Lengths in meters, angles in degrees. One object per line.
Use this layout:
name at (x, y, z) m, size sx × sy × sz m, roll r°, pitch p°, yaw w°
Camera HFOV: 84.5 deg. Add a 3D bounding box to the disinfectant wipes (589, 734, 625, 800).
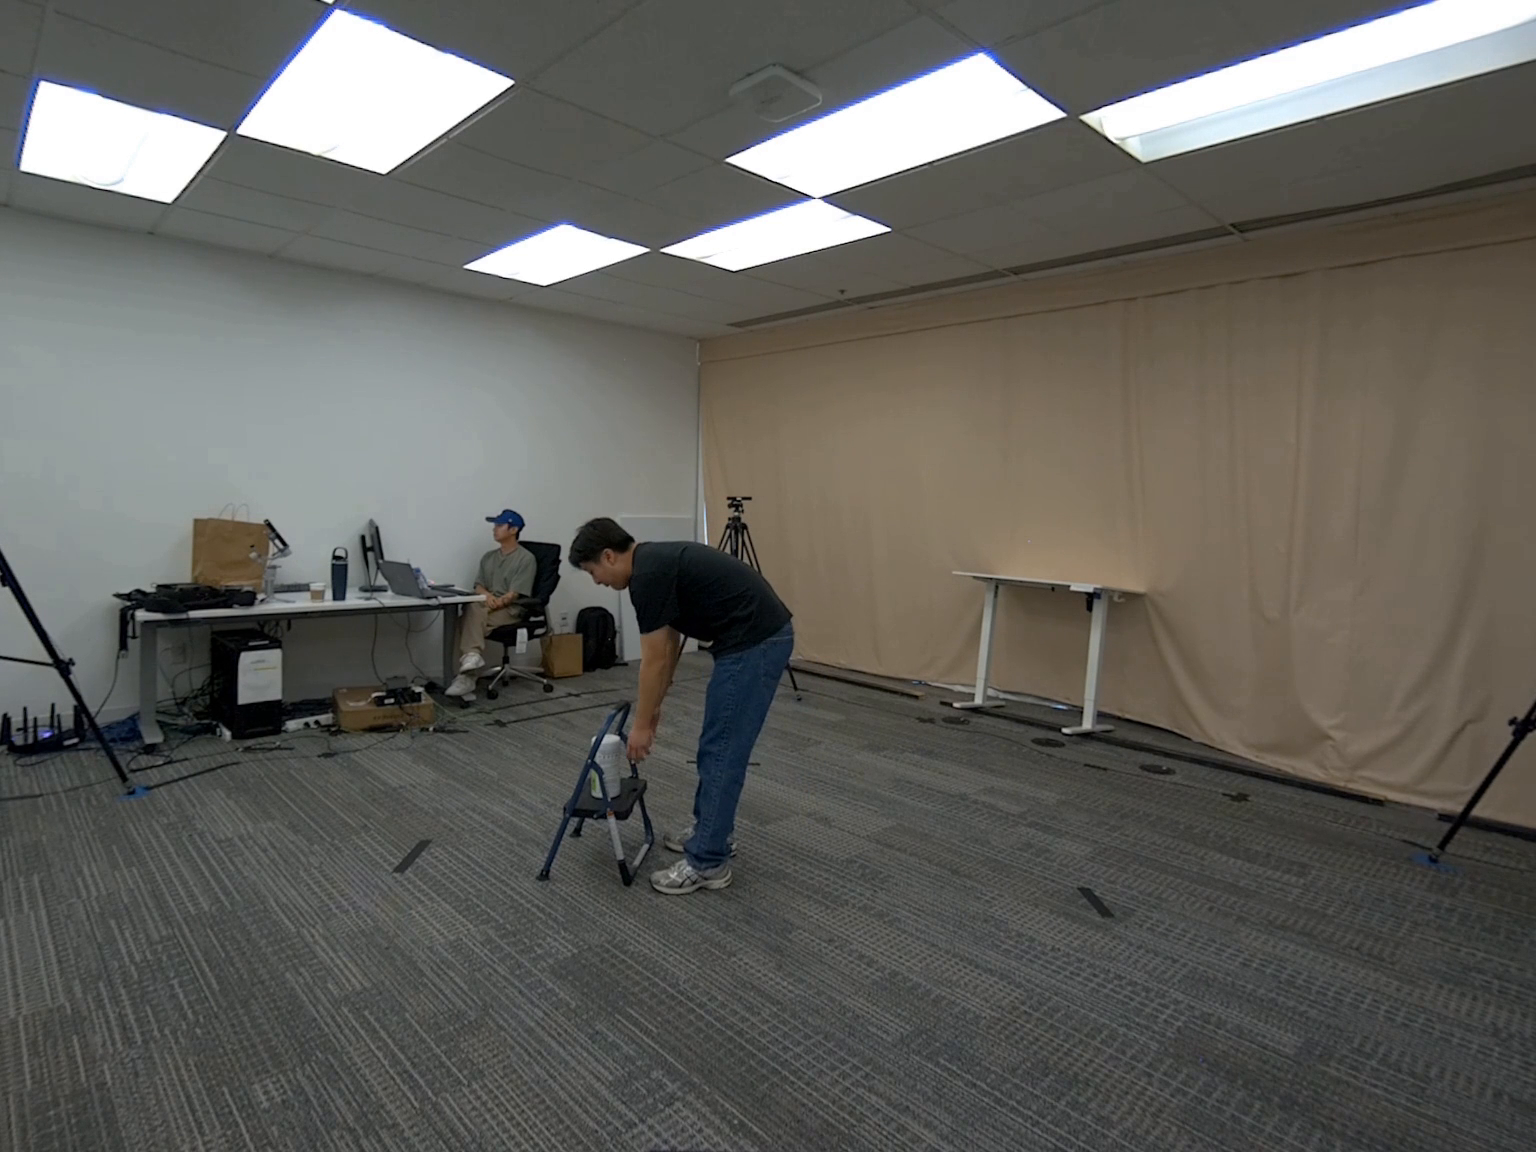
disinfectant wipes at (-0.608, 0.717, 3.178) m, size 0.118 × 0.217 × 0.118 m, roll -1°, pitch 2°, yaw -1°
